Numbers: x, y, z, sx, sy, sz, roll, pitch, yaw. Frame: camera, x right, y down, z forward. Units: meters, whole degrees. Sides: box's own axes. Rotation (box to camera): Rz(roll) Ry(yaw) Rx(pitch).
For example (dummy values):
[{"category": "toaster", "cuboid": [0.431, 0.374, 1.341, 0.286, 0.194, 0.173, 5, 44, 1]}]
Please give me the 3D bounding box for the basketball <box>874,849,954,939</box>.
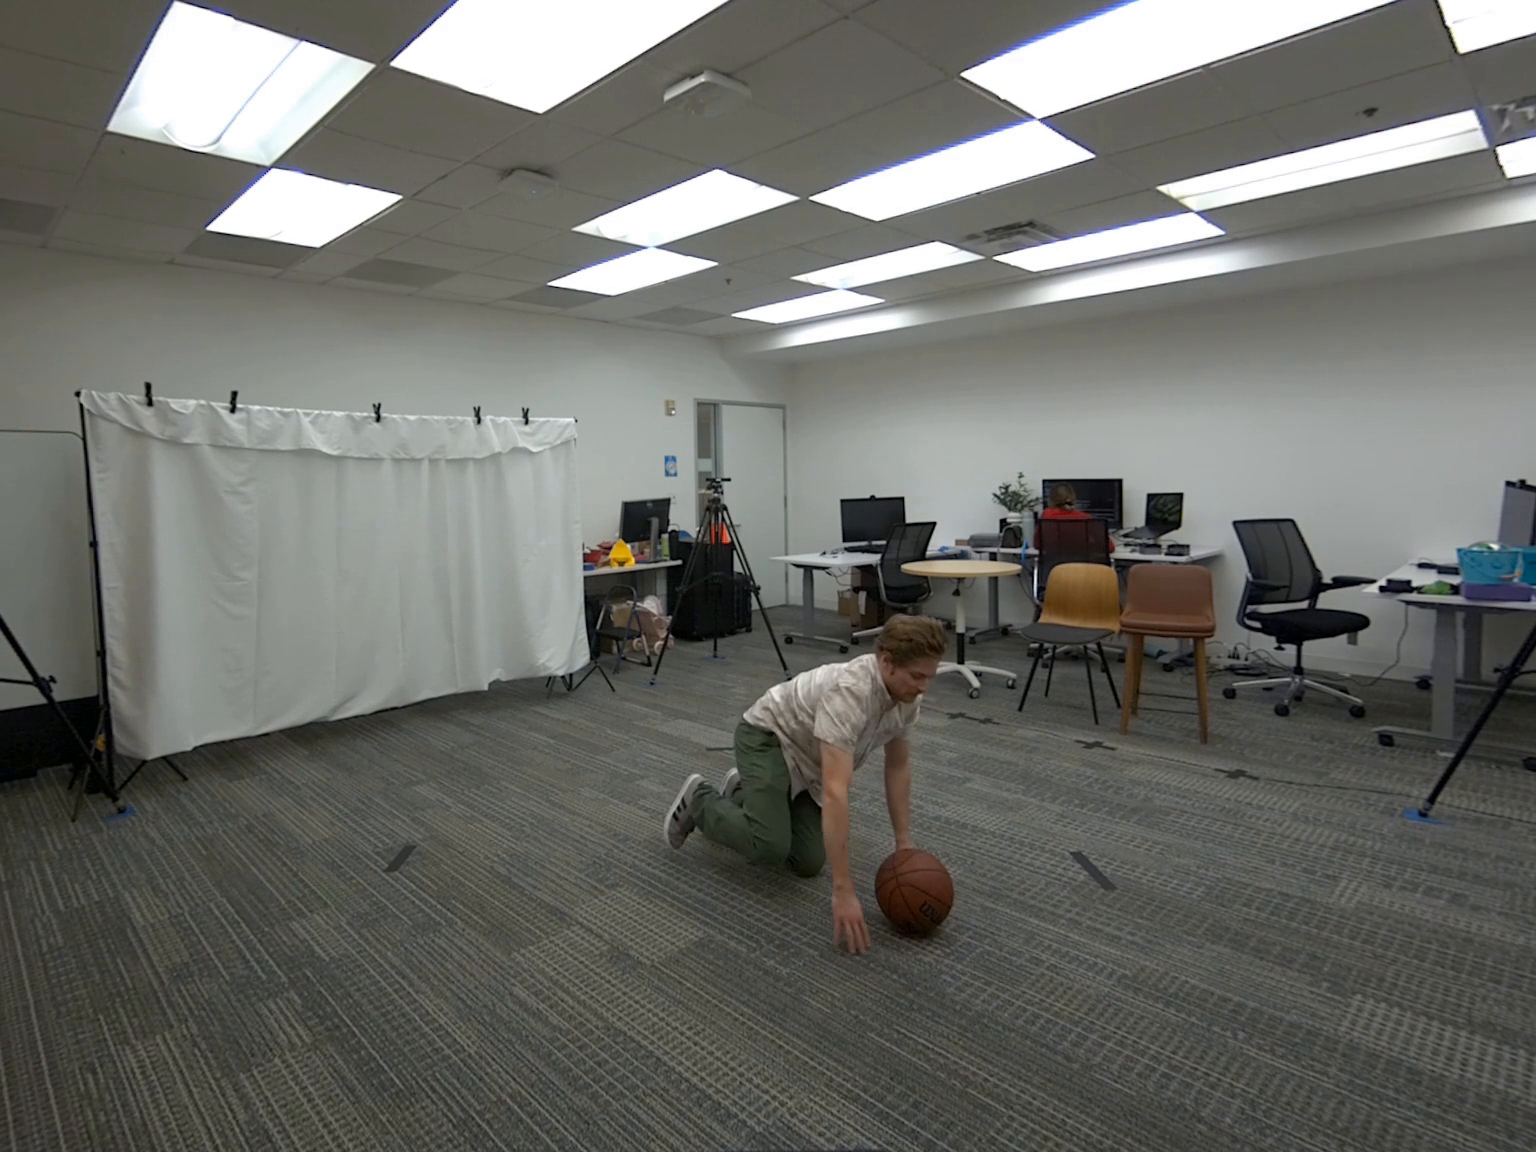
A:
[{"category": "basketball", "cuboid": [0.454, 0.963, 2.635, 0.236, 0.235, 0.237, -1, 5, -2]}]
